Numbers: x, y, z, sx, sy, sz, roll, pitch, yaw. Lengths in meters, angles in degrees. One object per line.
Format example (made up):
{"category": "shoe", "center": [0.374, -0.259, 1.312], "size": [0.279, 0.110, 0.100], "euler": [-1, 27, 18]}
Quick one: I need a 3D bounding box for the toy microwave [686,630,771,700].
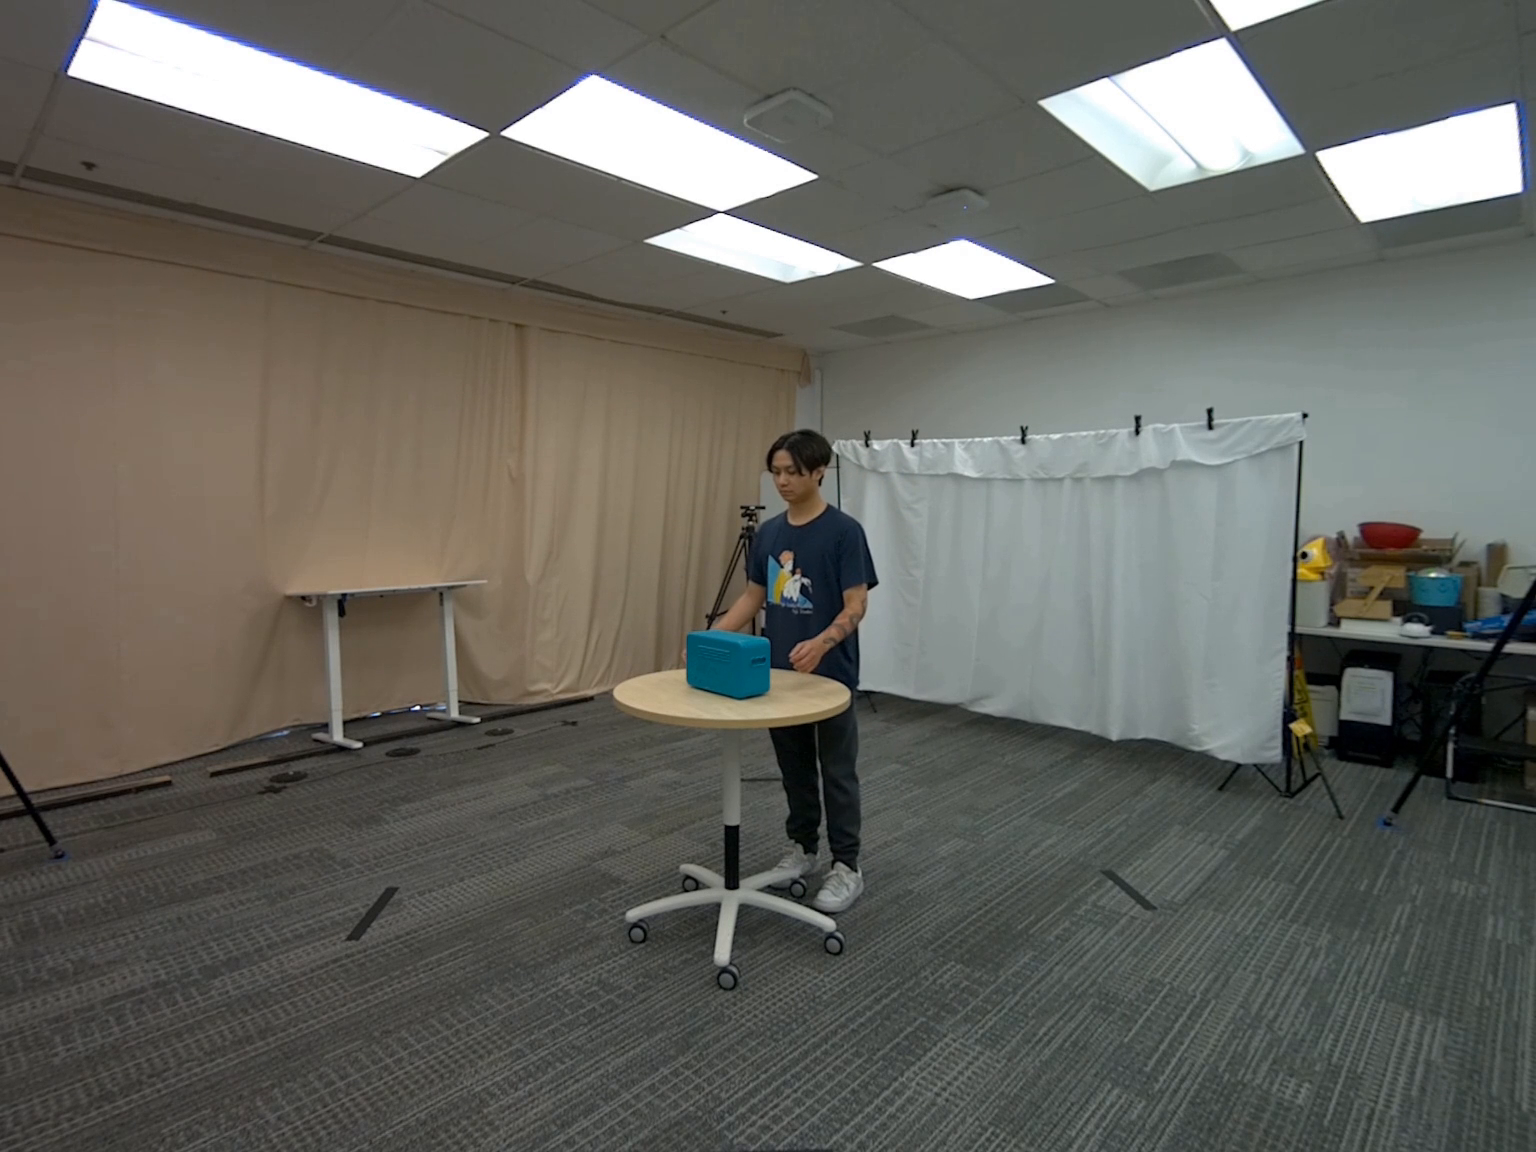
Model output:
{"category": "toy microwave", "center": [-0.122, 0.281, 2.707], "size": [0.148, 0.184, 0.296], "euler": [-3, 5, -42]}
